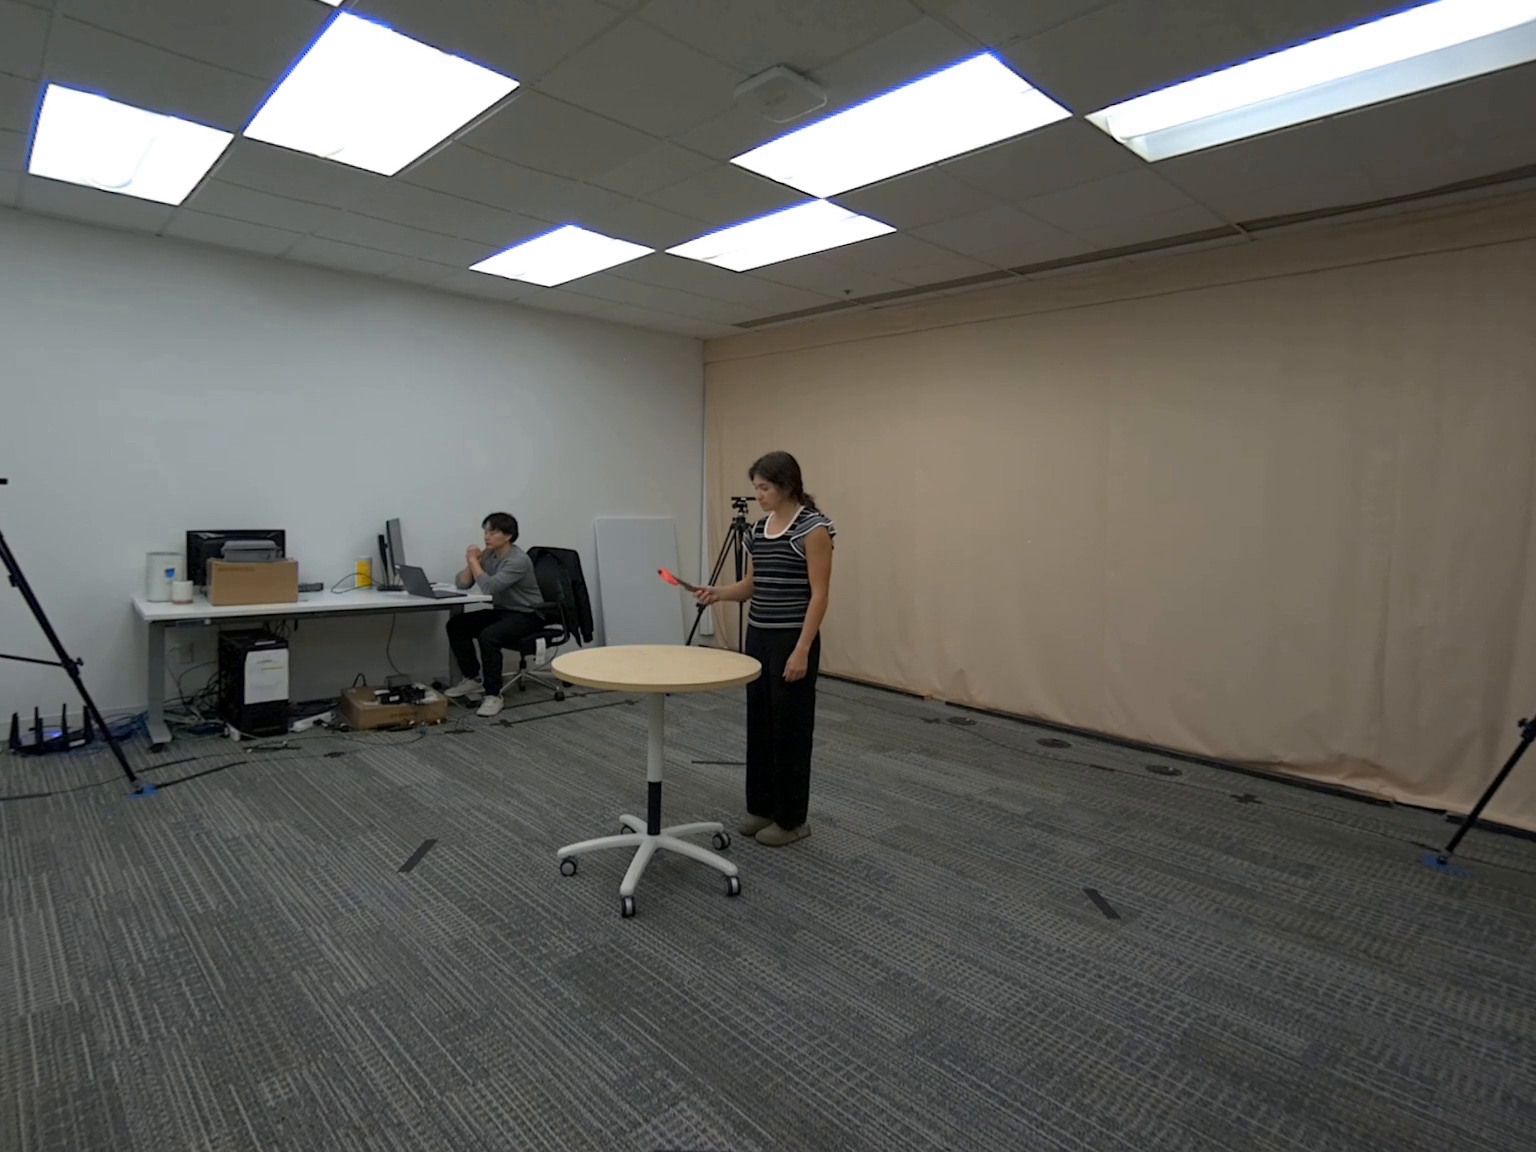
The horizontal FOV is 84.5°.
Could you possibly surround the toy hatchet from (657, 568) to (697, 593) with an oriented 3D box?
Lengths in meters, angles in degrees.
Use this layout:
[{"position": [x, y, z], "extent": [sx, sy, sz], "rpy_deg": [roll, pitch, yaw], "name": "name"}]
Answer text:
[{"position": [-0.335, 0.053, 3.354], "extent": [0.268, 0.029, 0.132], "rpy_deg": [29, 12, -8], "name": "toy hatchet"}]
